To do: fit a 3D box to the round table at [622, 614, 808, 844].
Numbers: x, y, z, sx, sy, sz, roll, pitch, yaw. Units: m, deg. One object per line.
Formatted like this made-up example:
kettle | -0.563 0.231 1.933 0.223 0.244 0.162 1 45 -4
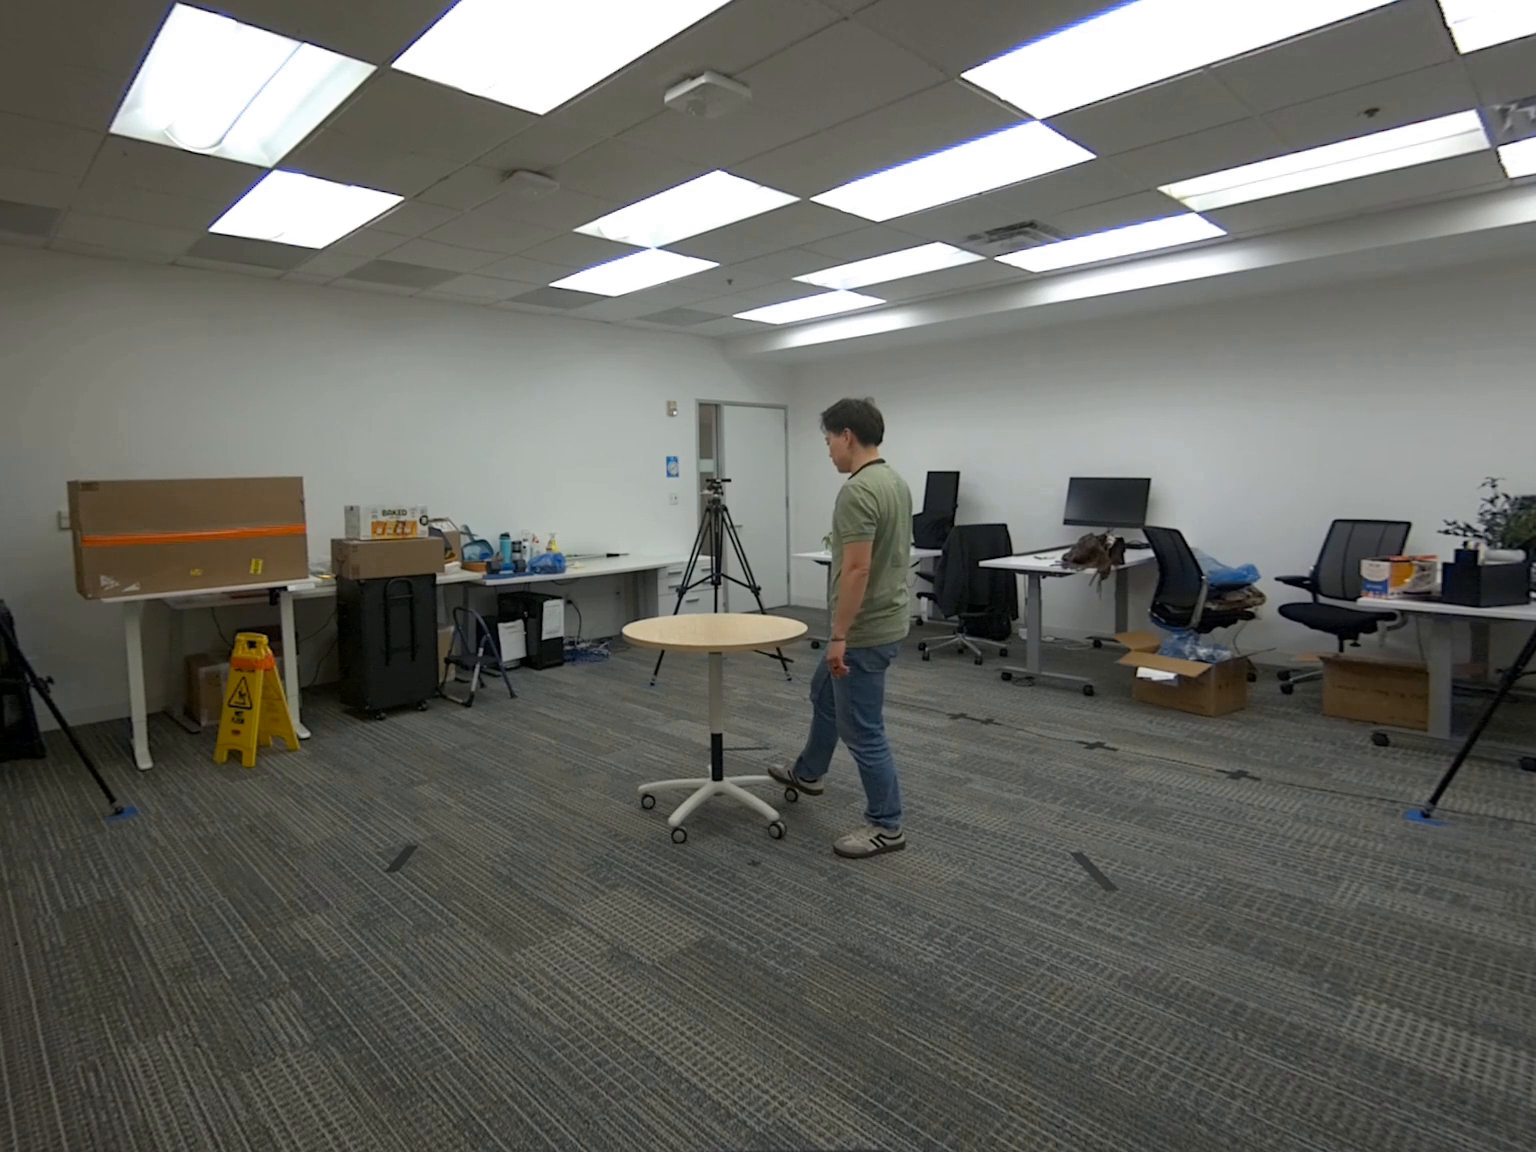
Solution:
round table | -0.219 0.605 3.564 0.763 0.791 0.767 -1 4 -2
